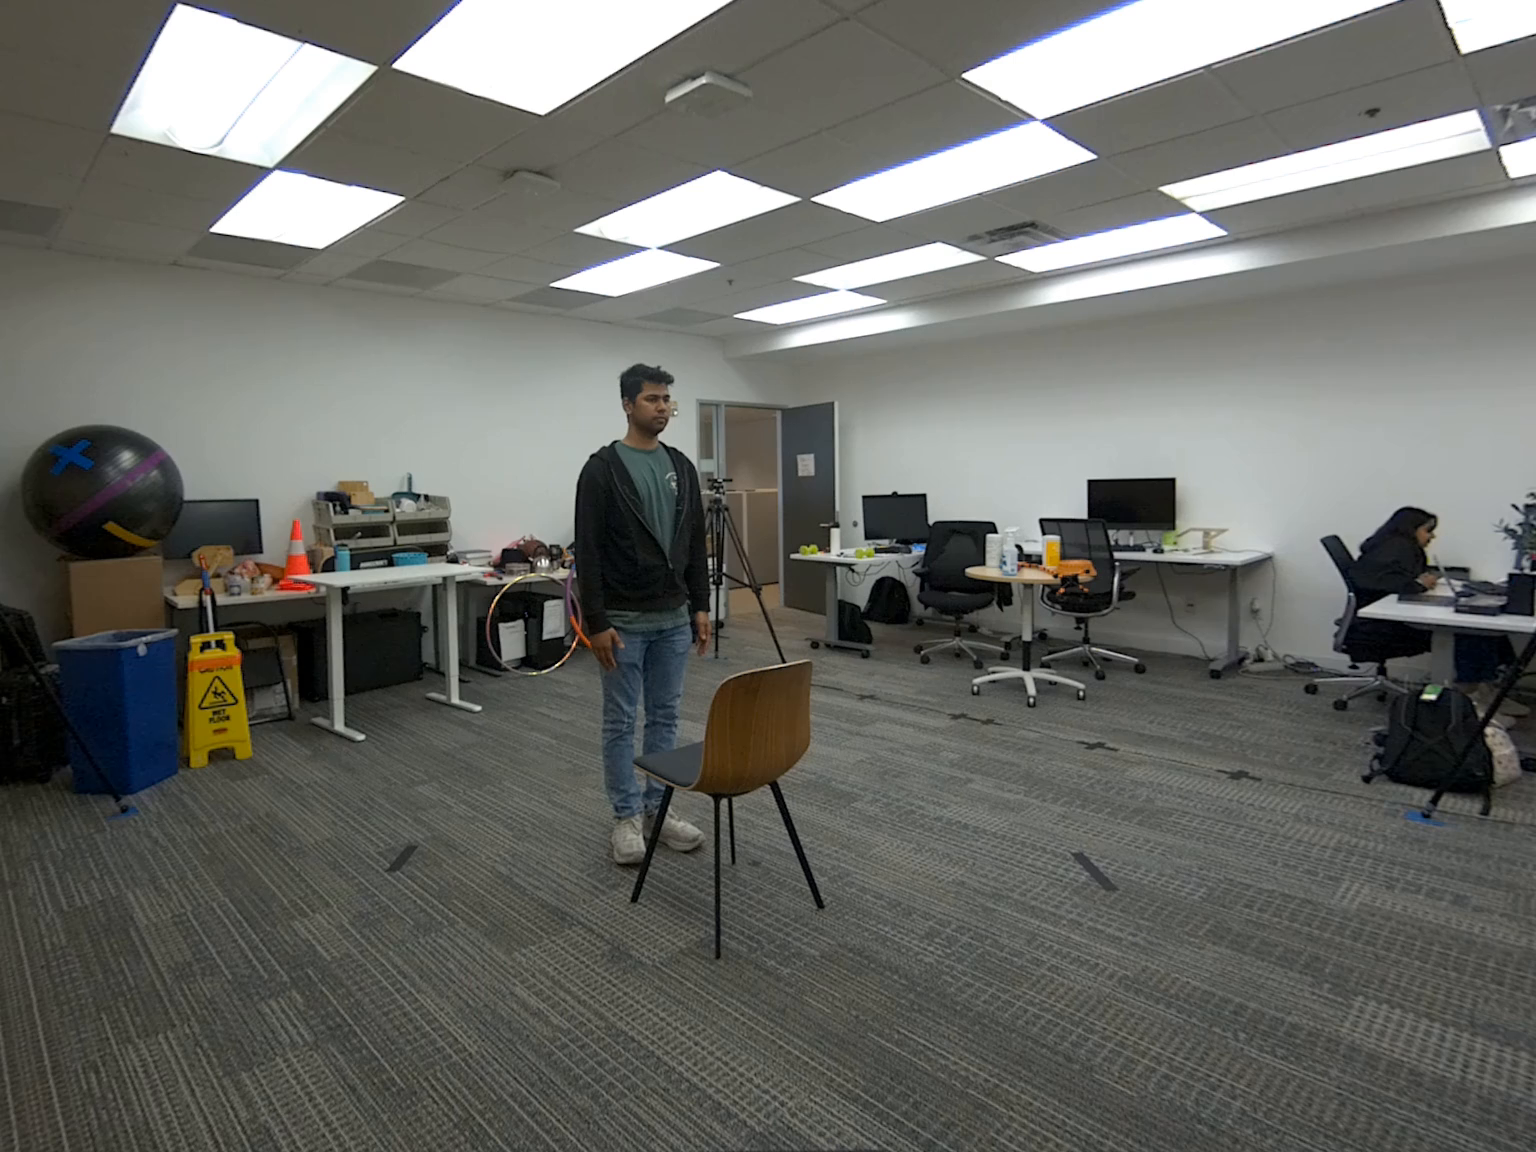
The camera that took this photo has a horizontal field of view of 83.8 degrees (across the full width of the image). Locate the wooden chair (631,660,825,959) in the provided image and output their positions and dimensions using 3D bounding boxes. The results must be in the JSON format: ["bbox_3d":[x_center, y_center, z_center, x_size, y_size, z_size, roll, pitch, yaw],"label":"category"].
[{"bbox_3d":[-0.140,0.660,2.775,0.465,0.871,0.541,-5,10,-41],"label":"wooden chair"}]
